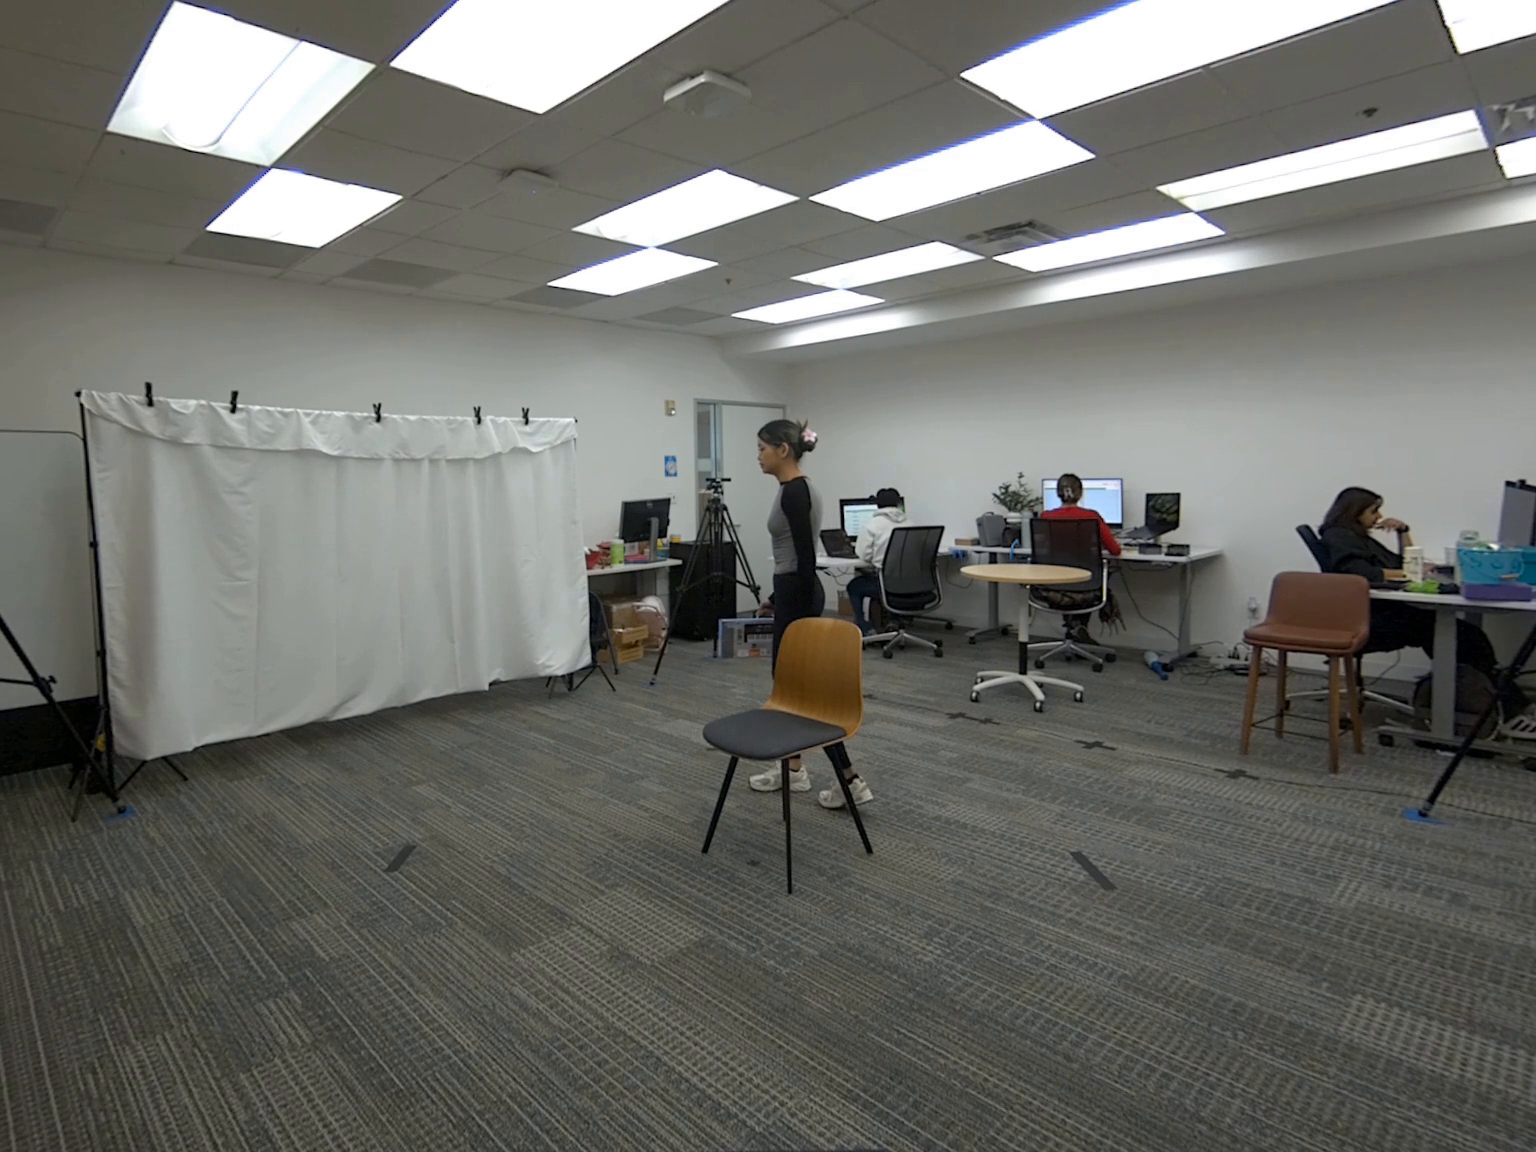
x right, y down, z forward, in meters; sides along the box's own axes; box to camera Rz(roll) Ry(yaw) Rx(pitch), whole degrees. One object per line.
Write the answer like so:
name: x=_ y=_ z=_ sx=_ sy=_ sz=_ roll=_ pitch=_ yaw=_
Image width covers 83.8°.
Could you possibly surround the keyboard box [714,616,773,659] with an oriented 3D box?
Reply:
keyboard box: x=-0.007 y=0.283 z=3.932 sx=0.431 sy=0.175 sz=0.060 roll=-1 pitch=2 yaw=-15
